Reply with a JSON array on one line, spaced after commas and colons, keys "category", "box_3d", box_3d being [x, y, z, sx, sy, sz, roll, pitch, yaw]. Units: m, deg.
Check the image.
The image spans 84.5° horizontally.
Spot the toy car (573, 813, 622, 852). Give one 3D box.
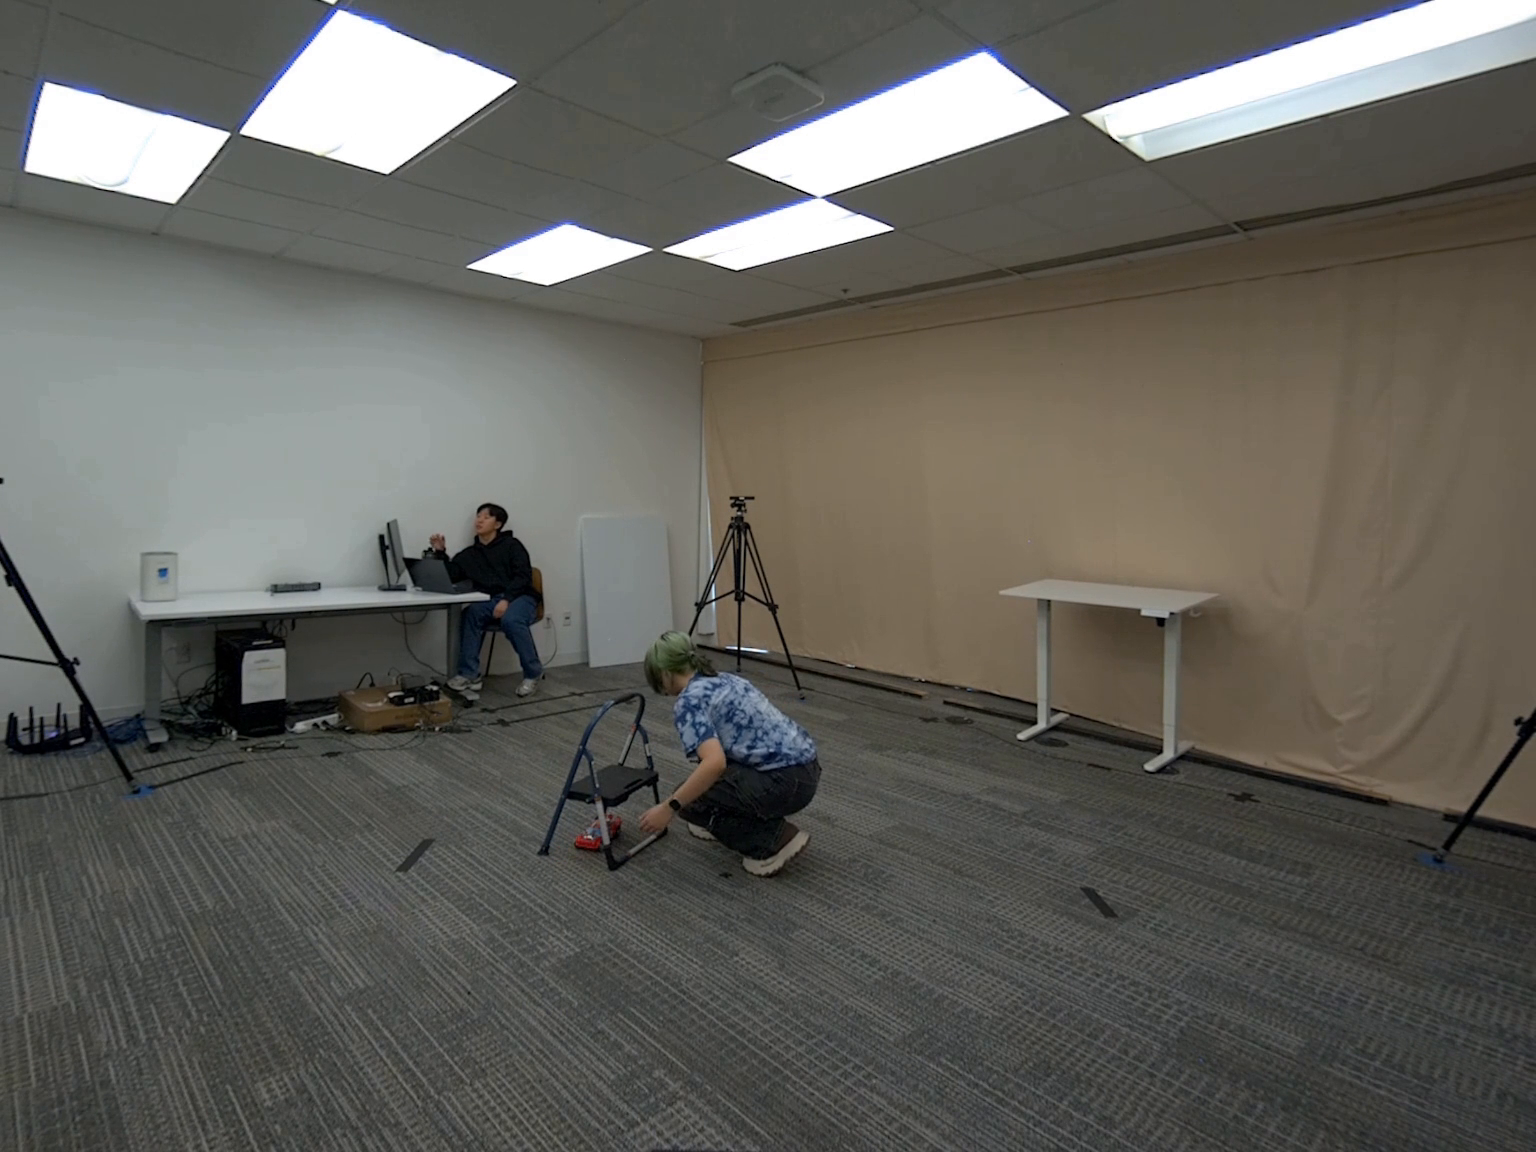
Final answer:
[{"category": "toy car", "box_3d": [-0.675, 1.028, 3.397, 0.132, 0.082, 0.254, 1, 18, 15]}]
